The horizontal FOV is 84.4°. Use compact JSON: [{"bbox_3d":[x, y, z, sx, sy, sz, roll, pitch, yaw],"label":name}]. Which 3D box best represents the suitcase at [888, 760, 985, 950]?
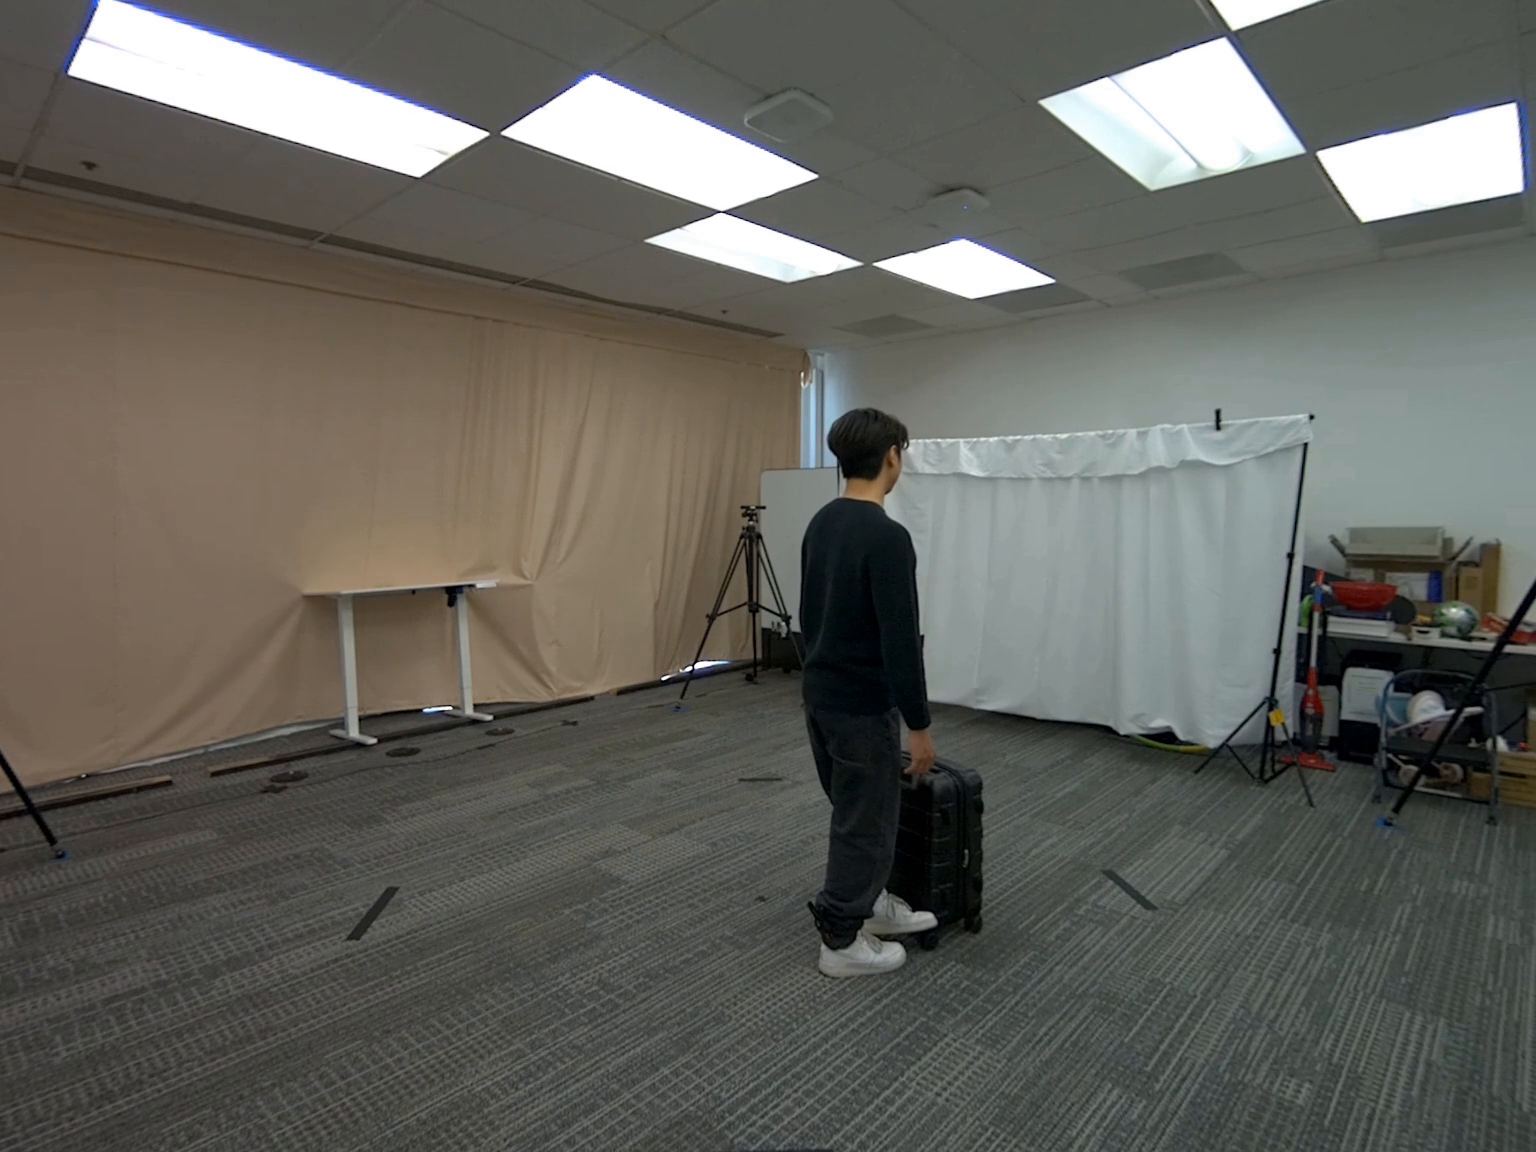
[{"bbox_3d":[0.539,0.680,2.828,0.249,0.978,0.396,2,0,-34],"label":"suitcase"}]
